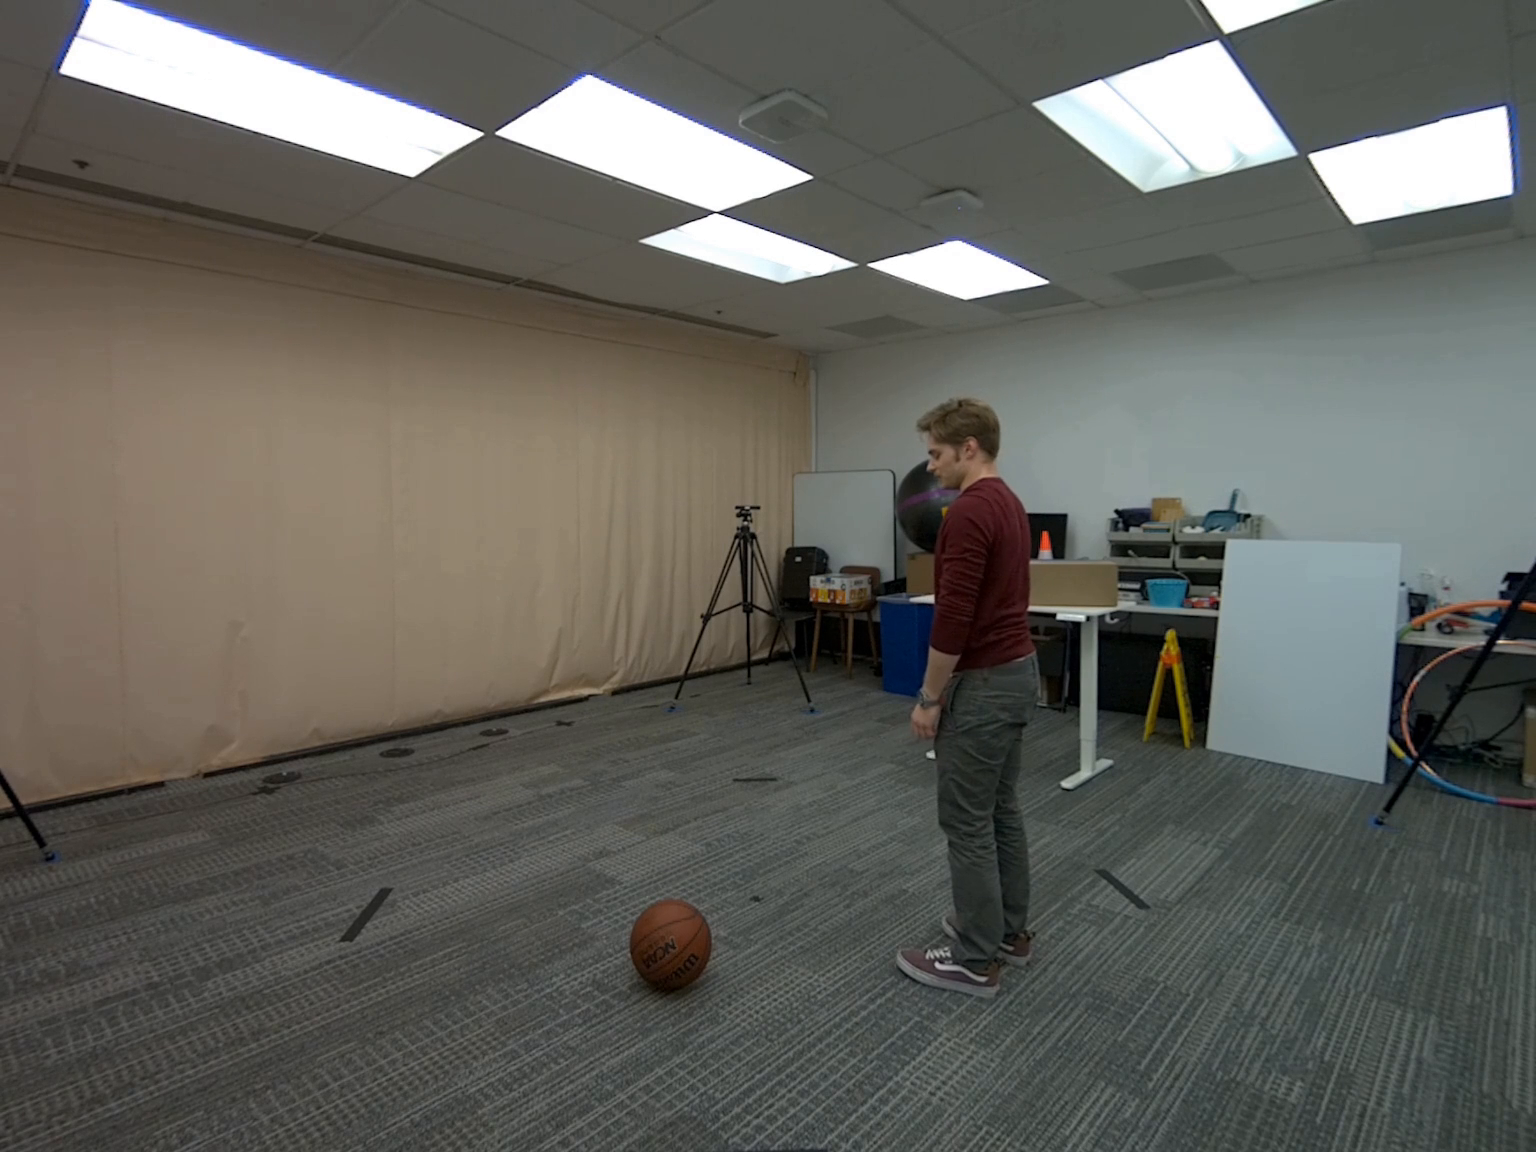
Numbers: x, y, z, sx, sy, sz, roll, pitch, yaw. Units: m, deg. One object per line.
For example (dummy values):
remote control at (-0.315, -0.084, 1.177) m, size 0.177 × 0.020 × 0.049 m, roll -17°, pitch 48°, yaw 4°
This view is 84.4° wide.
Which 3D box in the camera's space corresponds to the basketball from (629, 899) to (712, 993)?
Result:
basketball at (-0.284, 1.071, 2.448) m, size 0.236 × 0.235 × 0.237 m, roll 0°, pitch 4°, yaw -2°
